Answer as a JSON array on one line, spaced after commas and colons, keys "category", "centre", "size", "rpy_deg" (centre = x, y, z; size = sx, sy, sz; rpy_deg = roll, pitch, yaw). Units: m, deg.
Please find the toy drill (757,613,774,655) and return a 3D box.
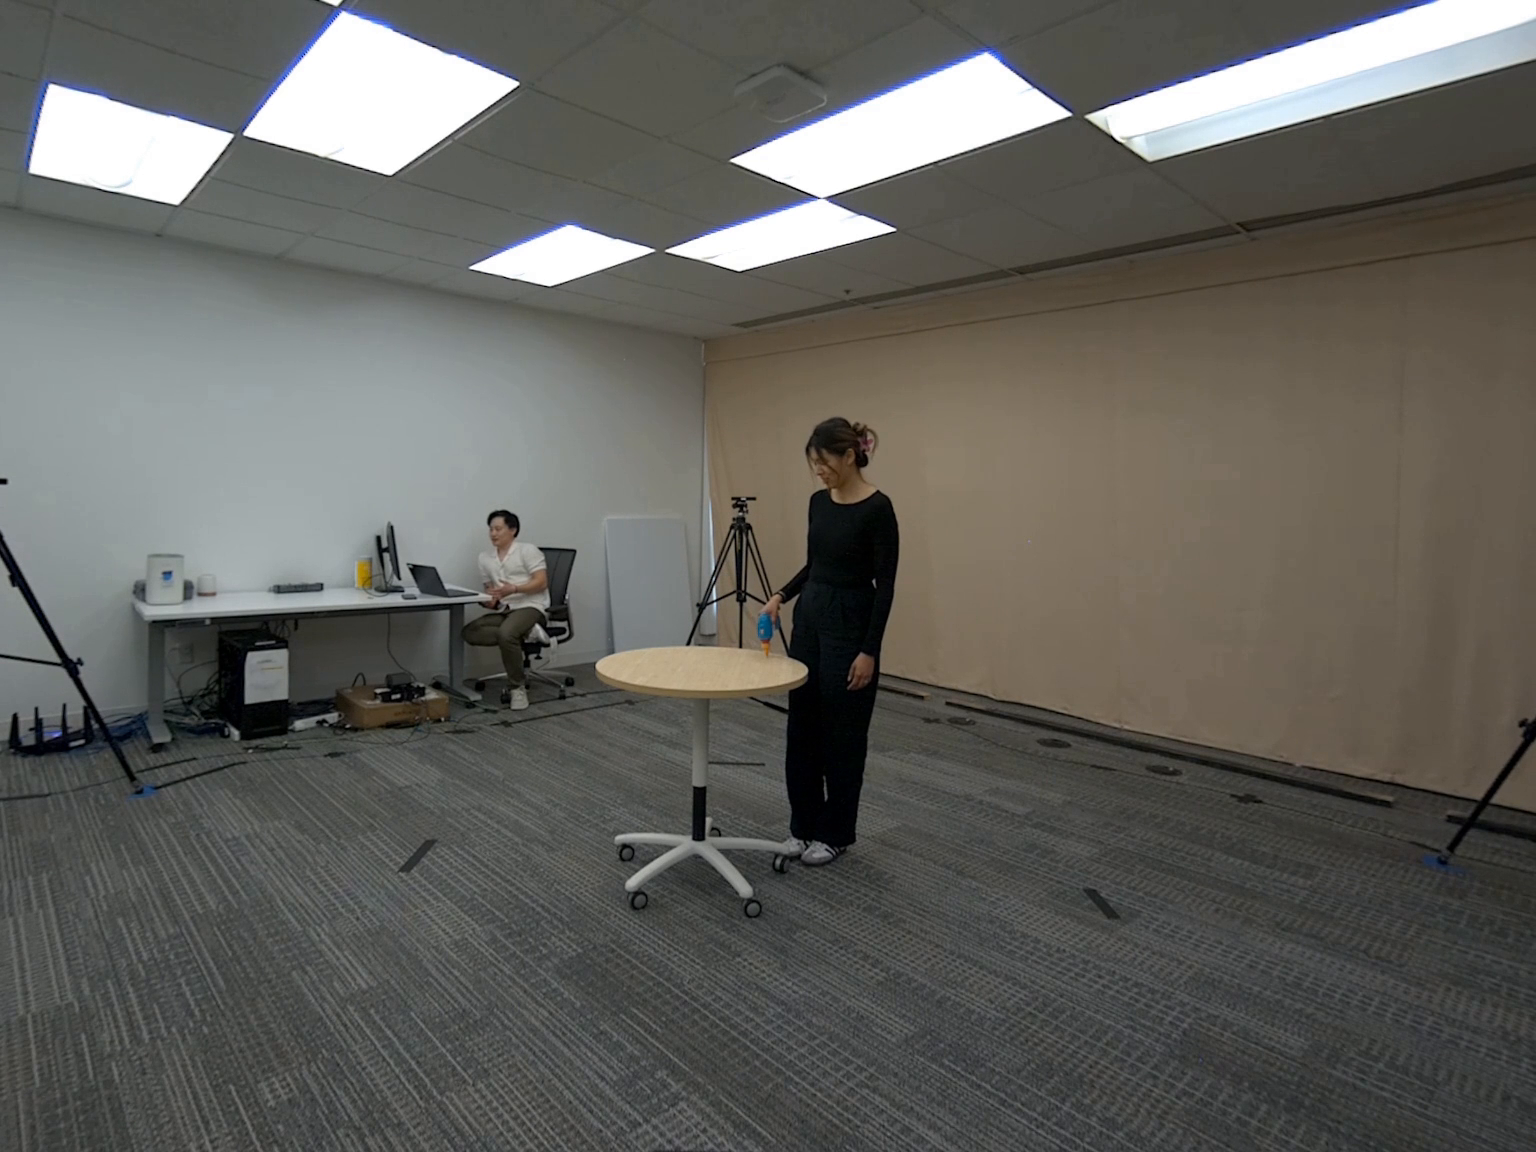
[{"category": "toy drill", "centre": [-0.002, 0.223, 3.277], "size": [0.062, 0.169, 0.144], "rpy_deg": [-2, 3, 22]}]
